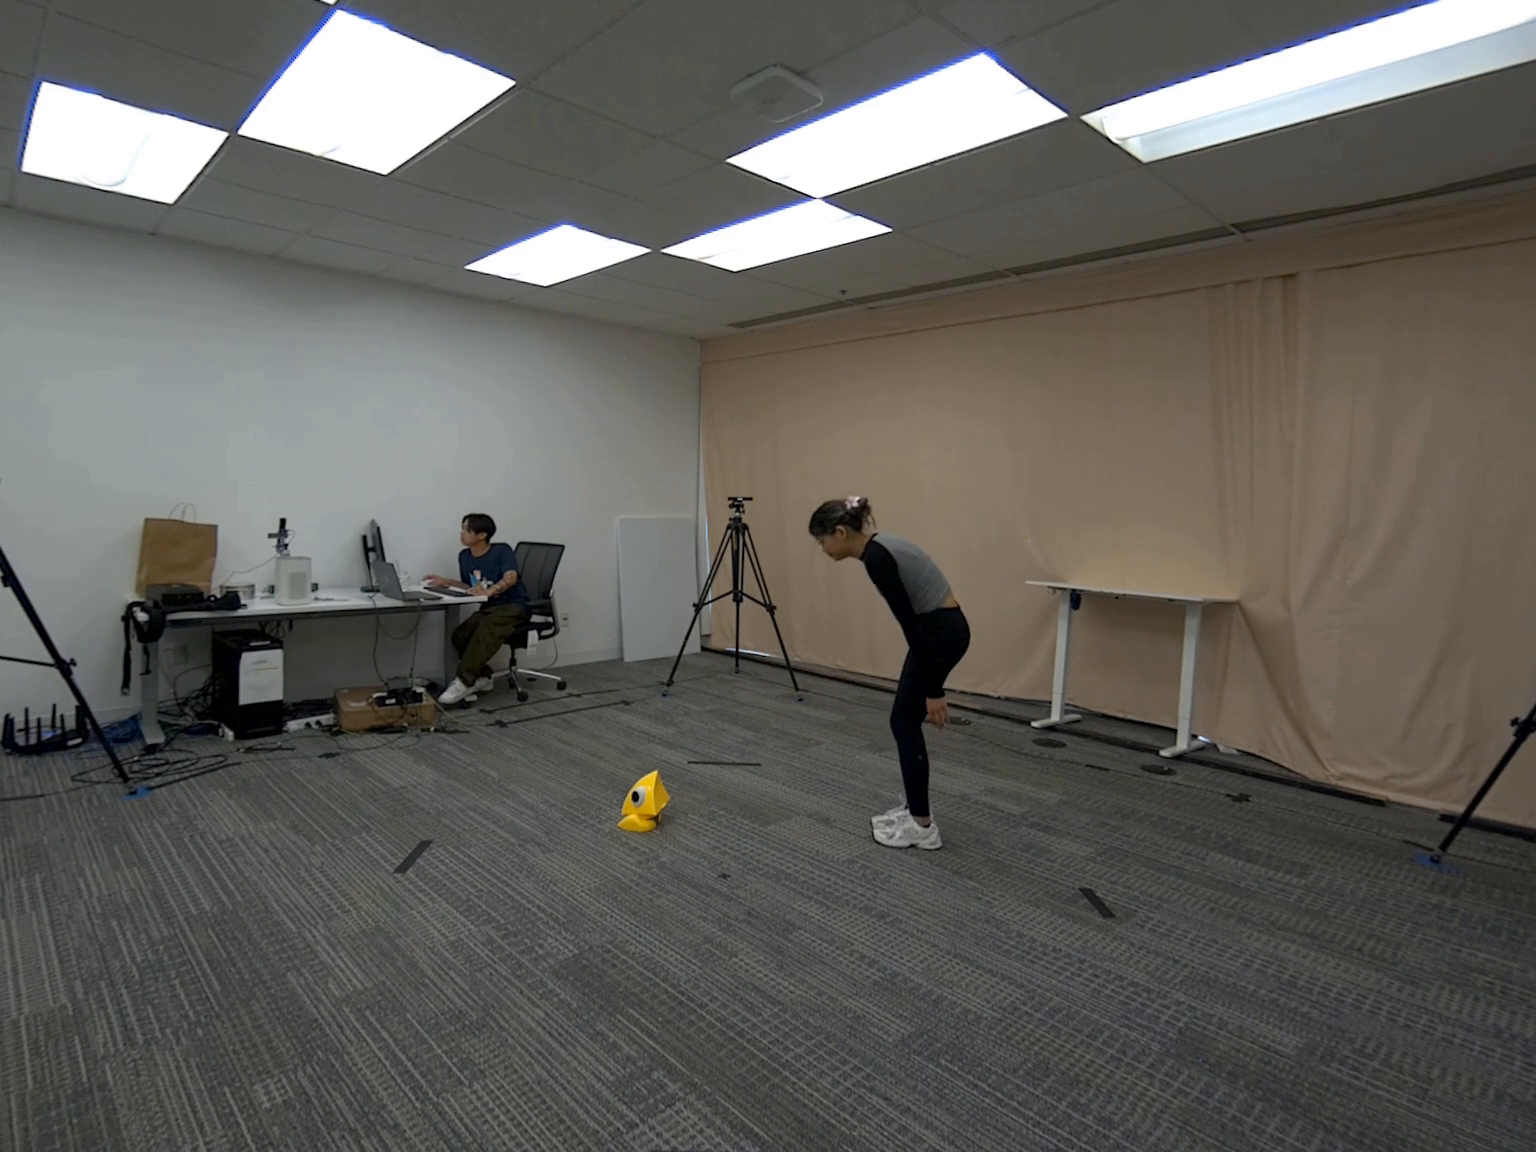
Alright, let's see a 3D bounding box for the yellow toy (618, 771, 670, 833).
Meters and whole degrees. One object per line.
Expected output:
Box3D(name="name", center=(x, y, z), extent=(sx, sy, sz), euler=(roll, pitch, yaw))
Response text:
Box3D(name="yellow toy", center=(-0.544, 0.942, 3.594), extent=(0.195, 0.230, 0.203), euler=(2, 4, 12))
